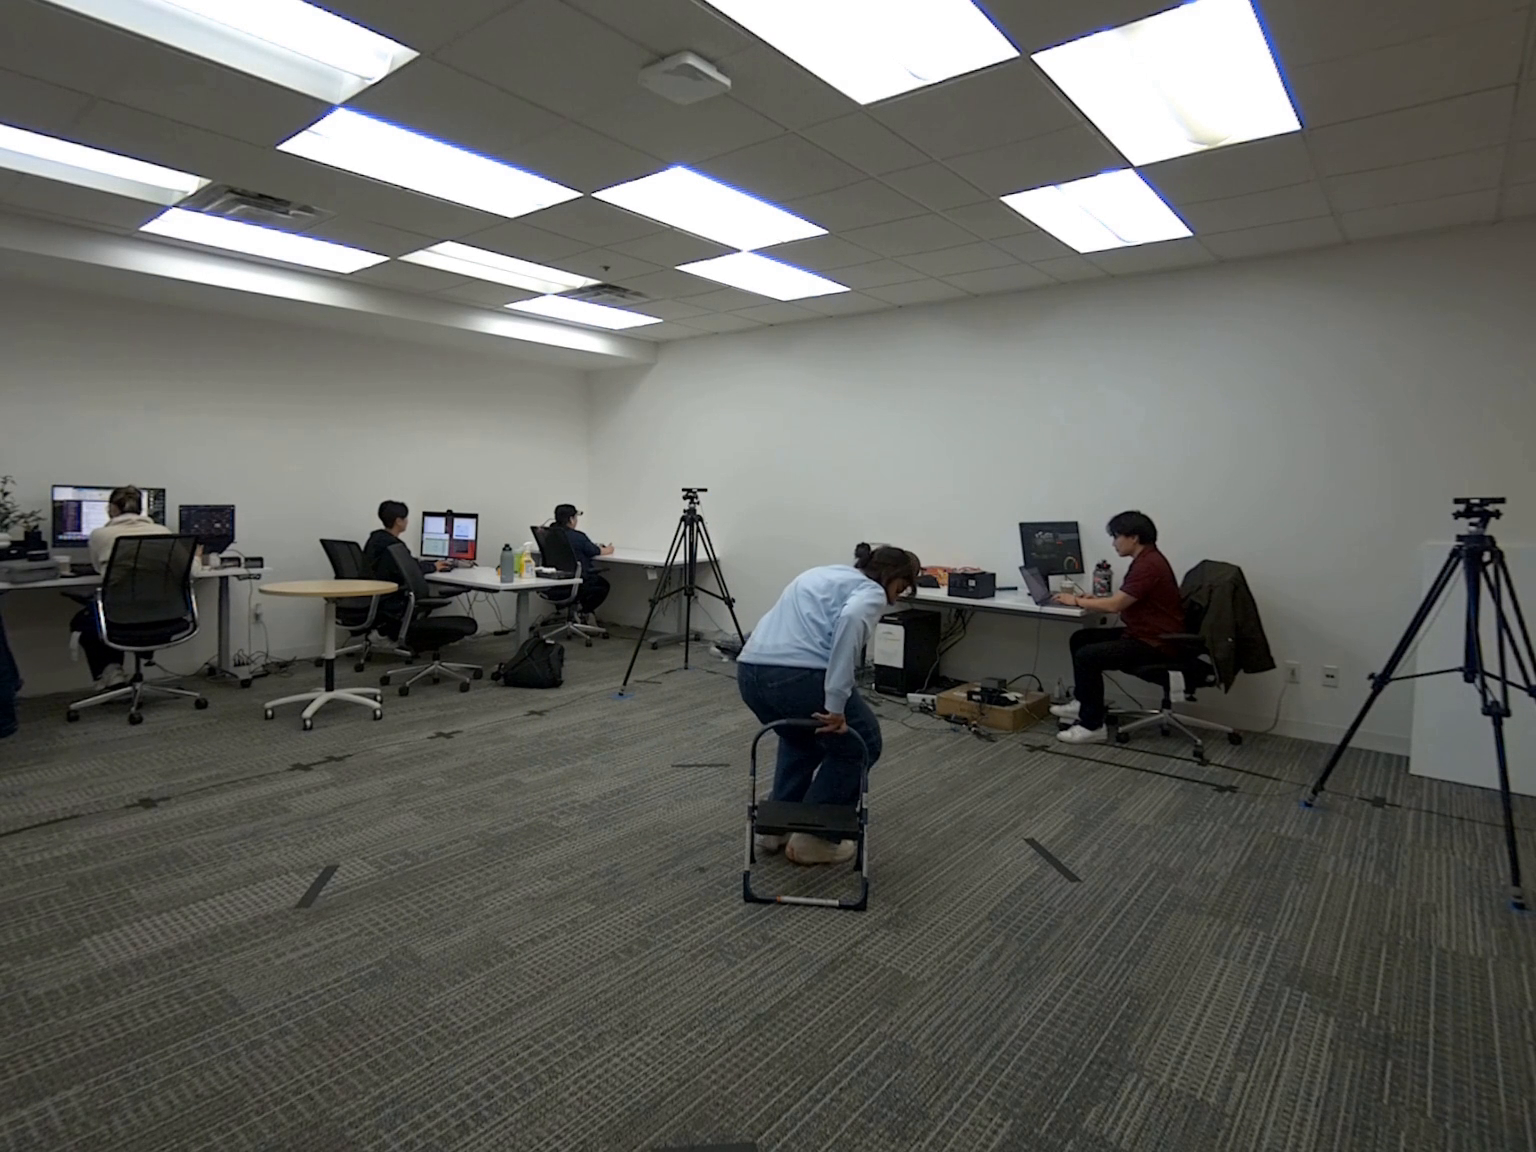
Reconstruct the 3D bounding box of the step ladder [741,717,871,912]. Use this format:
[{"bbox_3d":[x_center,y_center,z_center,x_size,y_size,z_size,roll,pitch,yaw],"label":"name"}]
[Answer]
[{"bbox_3d":[0.128,0.784,2.993,0.433,0.605,0.349,2,3,3],"label":"step ladder"}]
